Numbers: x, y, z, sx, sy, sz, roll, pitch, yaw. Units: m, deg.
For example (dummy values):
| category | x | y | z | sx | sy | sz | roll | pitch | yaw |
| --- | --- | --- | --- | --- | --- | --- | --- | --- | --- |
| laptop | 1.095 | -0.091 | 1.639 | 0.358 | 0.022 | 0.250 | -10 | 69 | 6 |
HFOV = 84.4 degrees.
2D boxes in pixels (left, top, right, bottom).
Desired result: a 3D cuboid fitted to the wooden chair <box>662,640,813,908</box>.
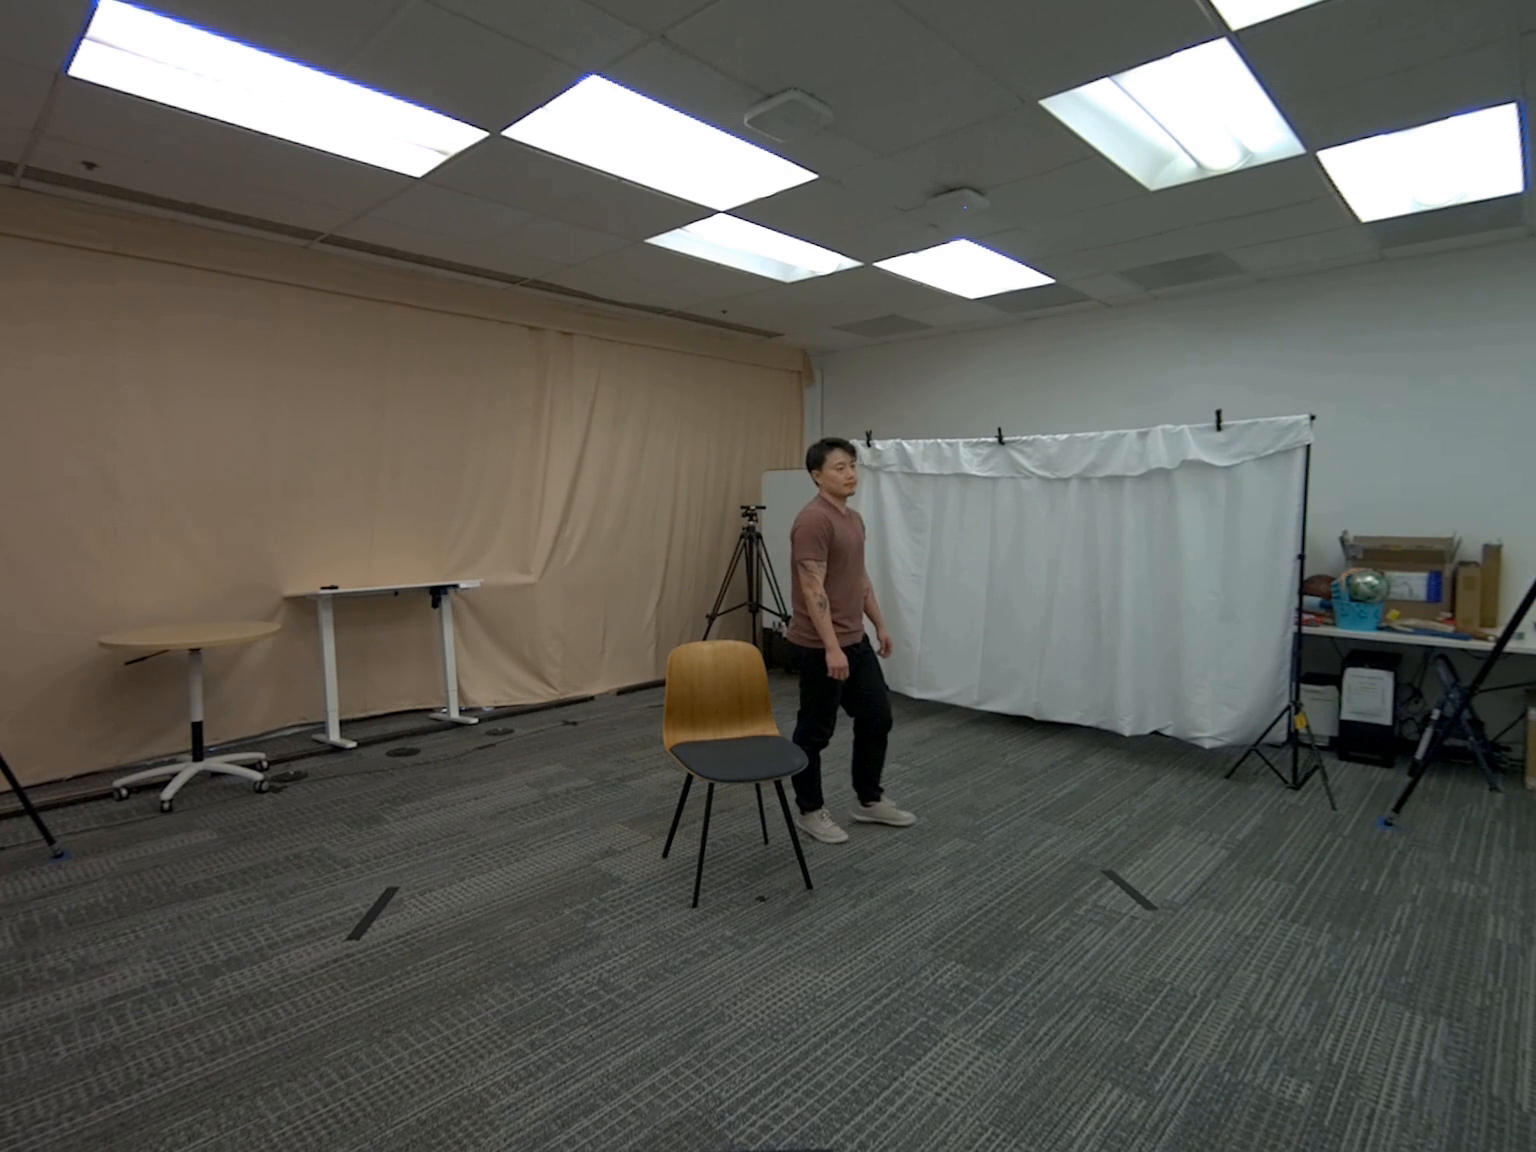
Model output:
| category | x | y | z | sx | sy | sz | roll | pitch | yaw |
| --- | --- | --- | --- | --- | --- | --- | --- | --- | --- |
| wooden chair | -0.127 | 0.703 | 3.158 | 0.469 | 0.878 | 0.533 | -1 | -1 | -19 |
